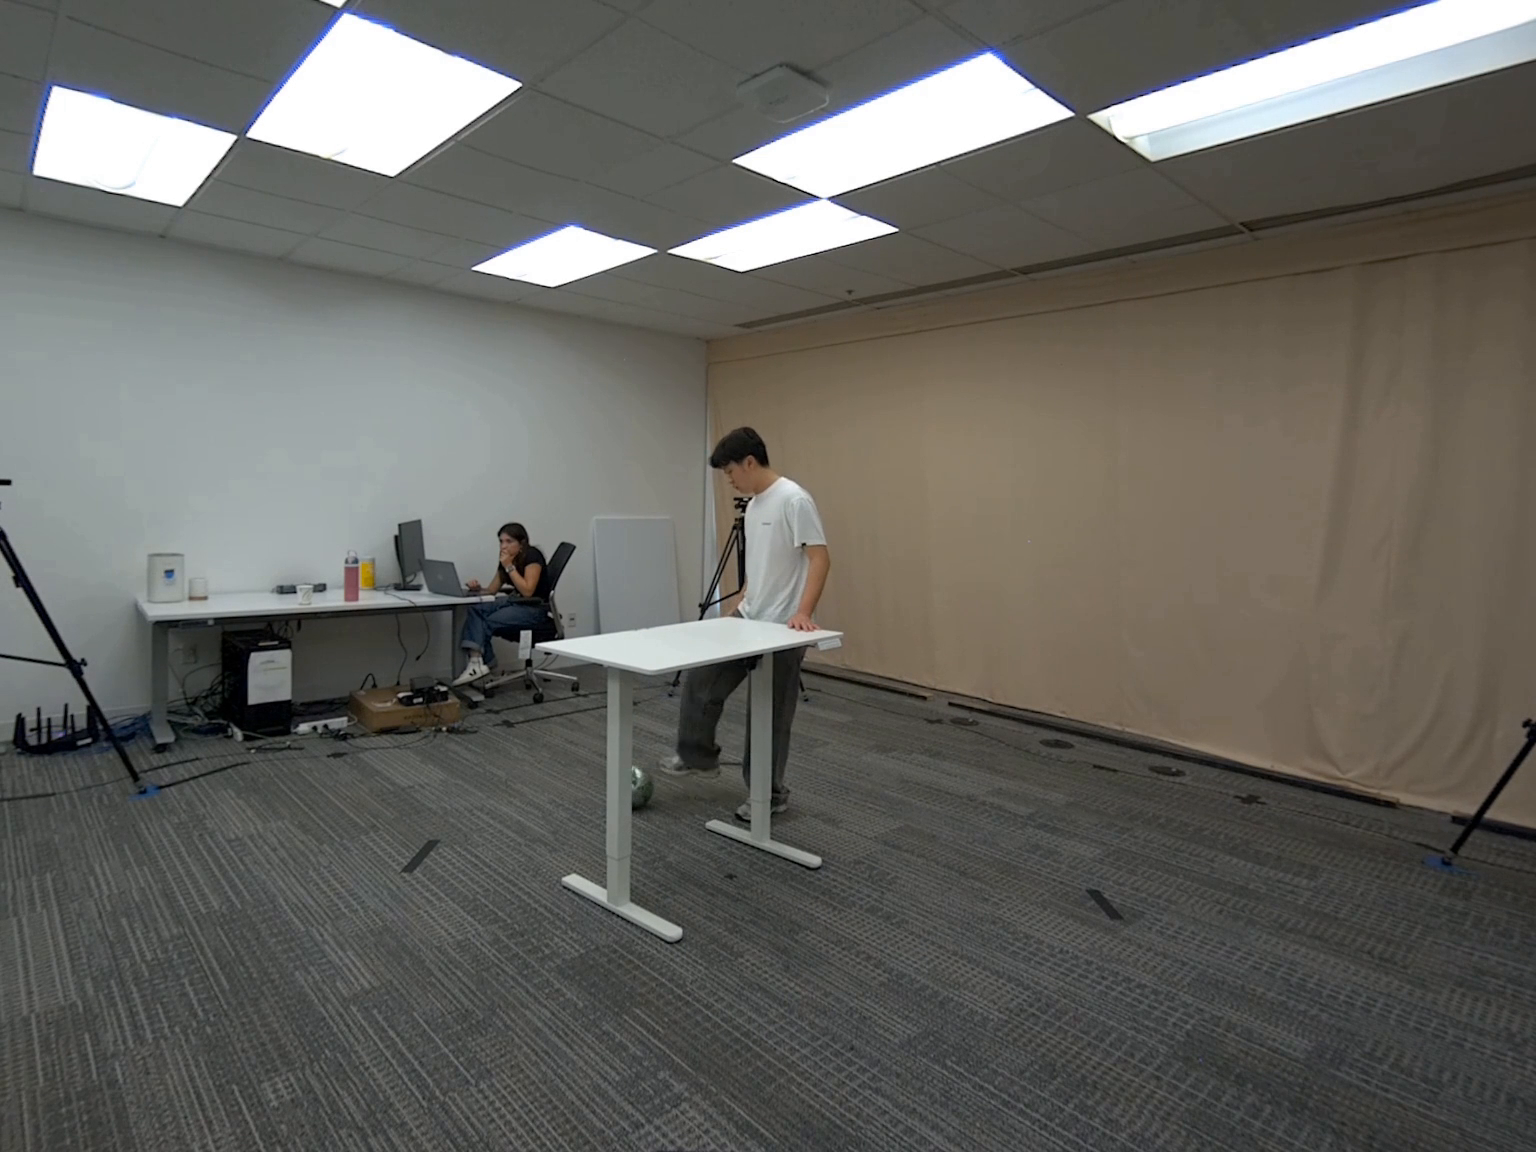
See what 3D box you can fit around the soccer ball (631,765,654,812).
[{"bbox_3d":[-0.614,0.948,3.770,0.187,0.187,0.188,1,4,-1],"label":"soccer ball"}]
